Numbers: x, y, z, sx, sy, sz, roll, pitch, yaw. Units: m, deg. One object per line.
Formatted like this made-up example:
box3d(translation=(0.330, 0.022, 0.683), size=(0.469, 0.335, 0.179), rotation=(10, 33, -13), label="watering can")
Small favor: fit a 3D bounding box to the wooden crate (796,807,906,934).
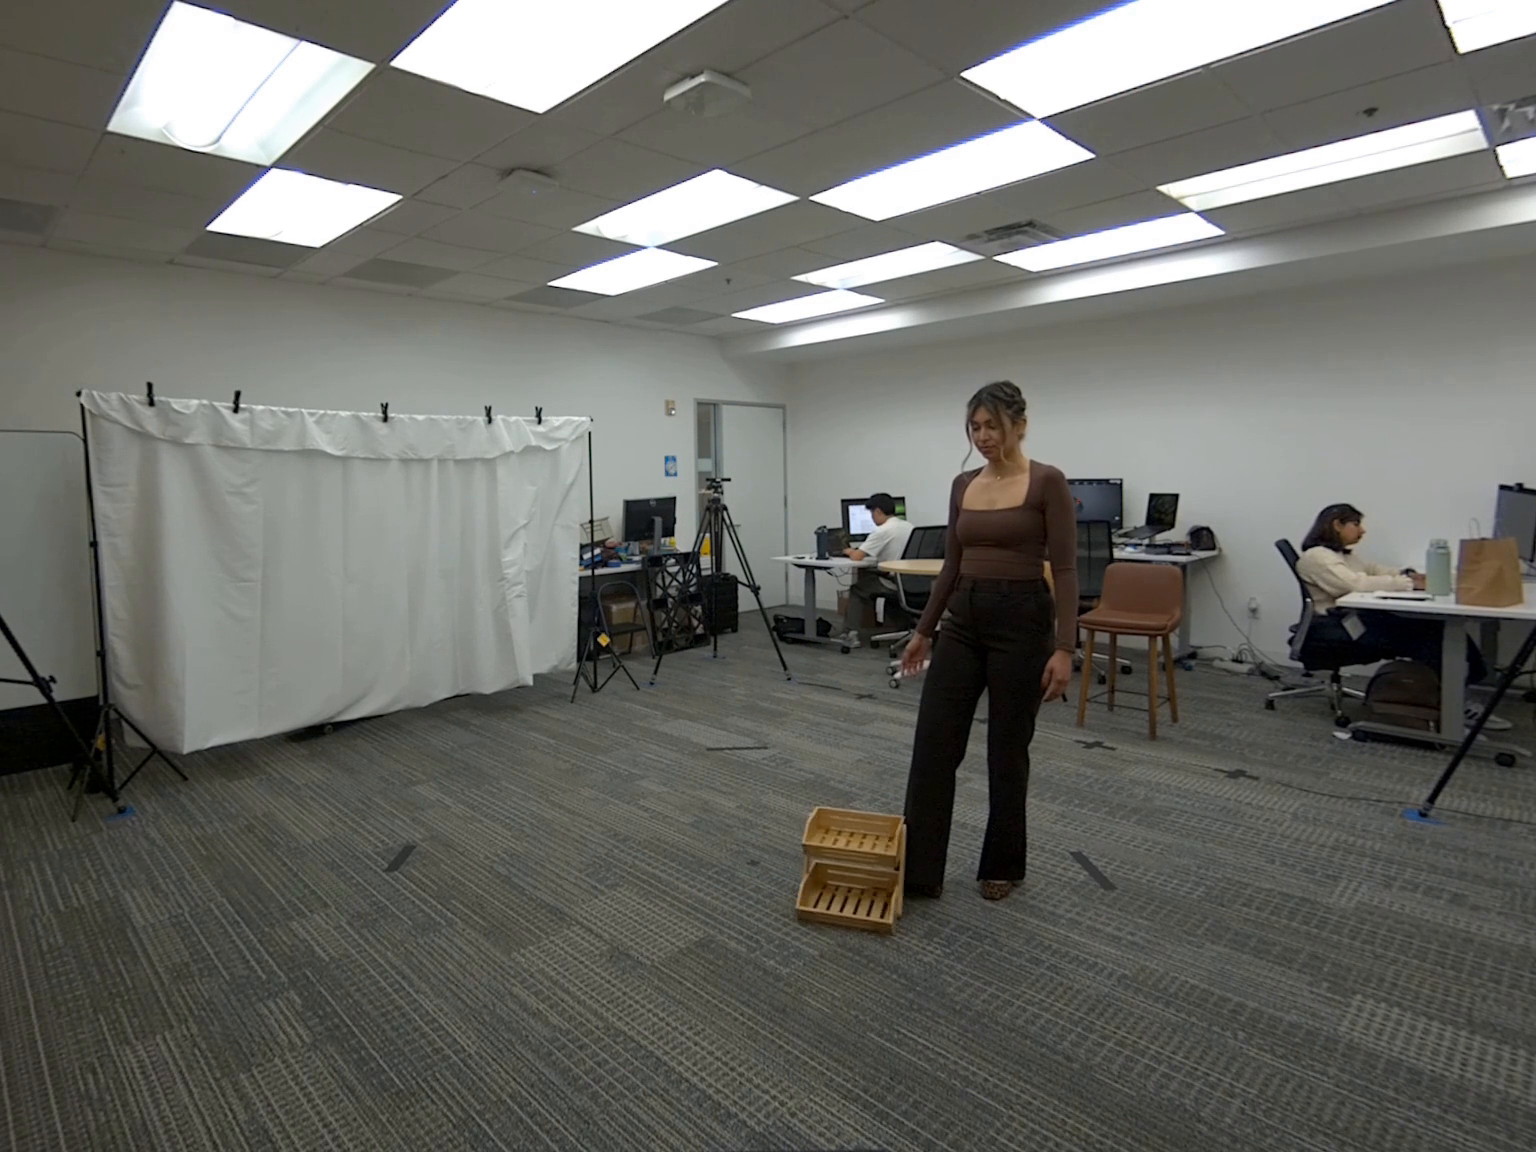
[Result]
box3d(translation=(0.274, 0.945, 2.757), size=(0.330, 0.272, 0.298), rotation=(1, 5, 18), label="wooden crate")
